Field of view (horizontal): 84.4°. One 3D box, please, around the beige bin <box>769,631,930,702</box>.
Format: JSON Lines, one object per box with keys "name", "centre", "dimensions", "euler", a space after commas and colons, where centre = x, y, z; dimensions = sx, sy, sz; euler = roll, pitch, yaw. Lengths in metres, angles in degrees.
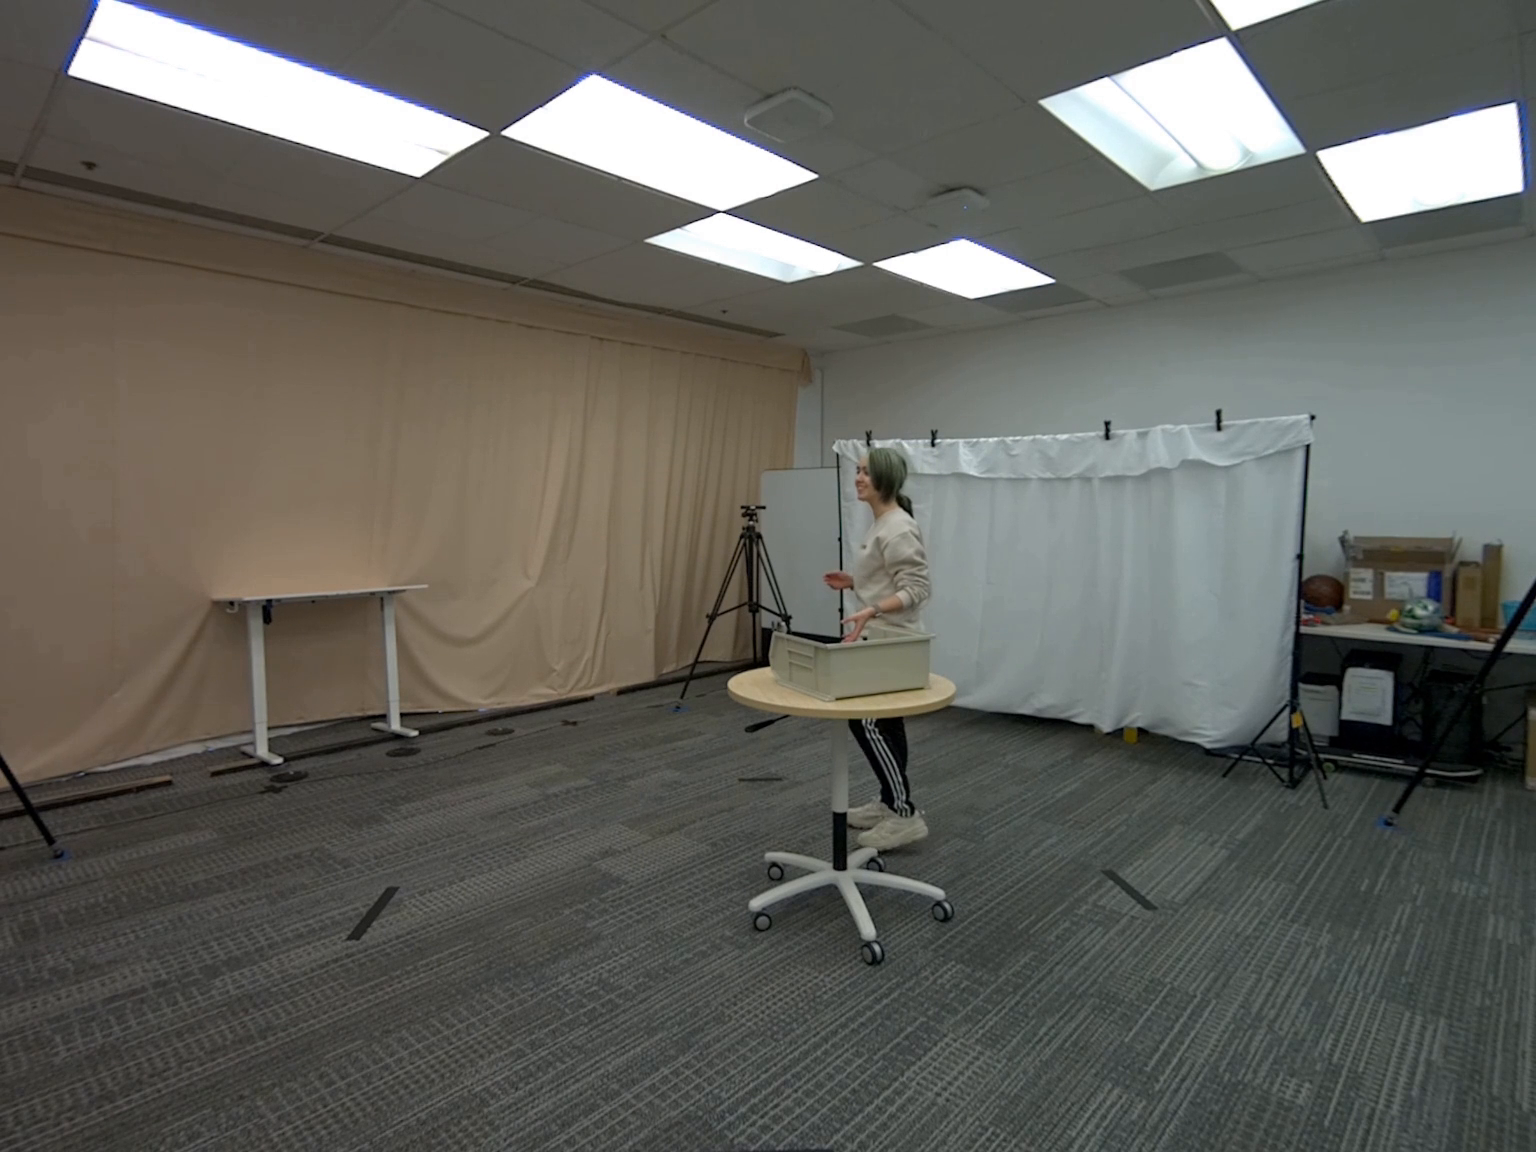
{"name": "beige bin", "centre": [0.275, 0.281, 2.835], "dimensions": [0.412, 0.188, 0.388], "euler": [-2, 6, -27]}
